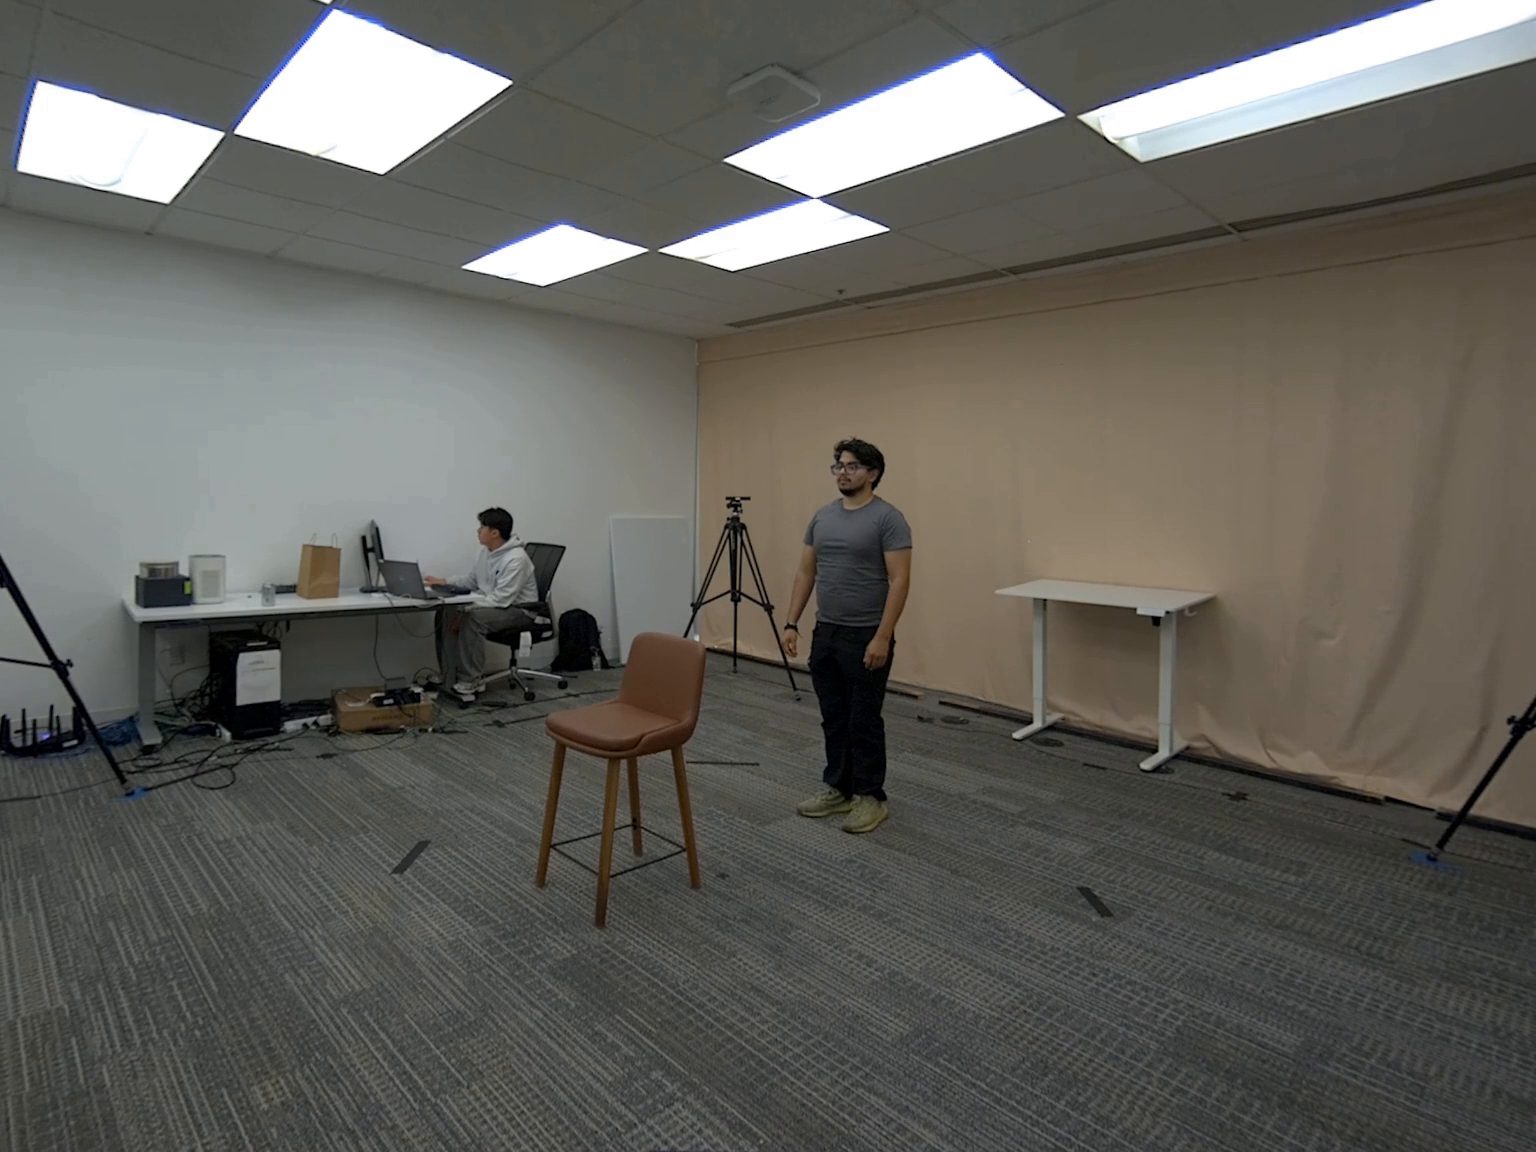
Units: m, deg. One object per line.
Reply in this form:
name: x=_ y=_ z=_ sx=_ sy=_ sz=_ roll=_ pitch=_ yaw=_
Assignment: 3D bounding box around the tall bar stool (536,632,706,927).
tall bar stool: x=-0.519 y=0.675 z=2.979 sx=0.456 sy=0.888 sz=0.468 roll=0 pitch=3 yaw=-44
